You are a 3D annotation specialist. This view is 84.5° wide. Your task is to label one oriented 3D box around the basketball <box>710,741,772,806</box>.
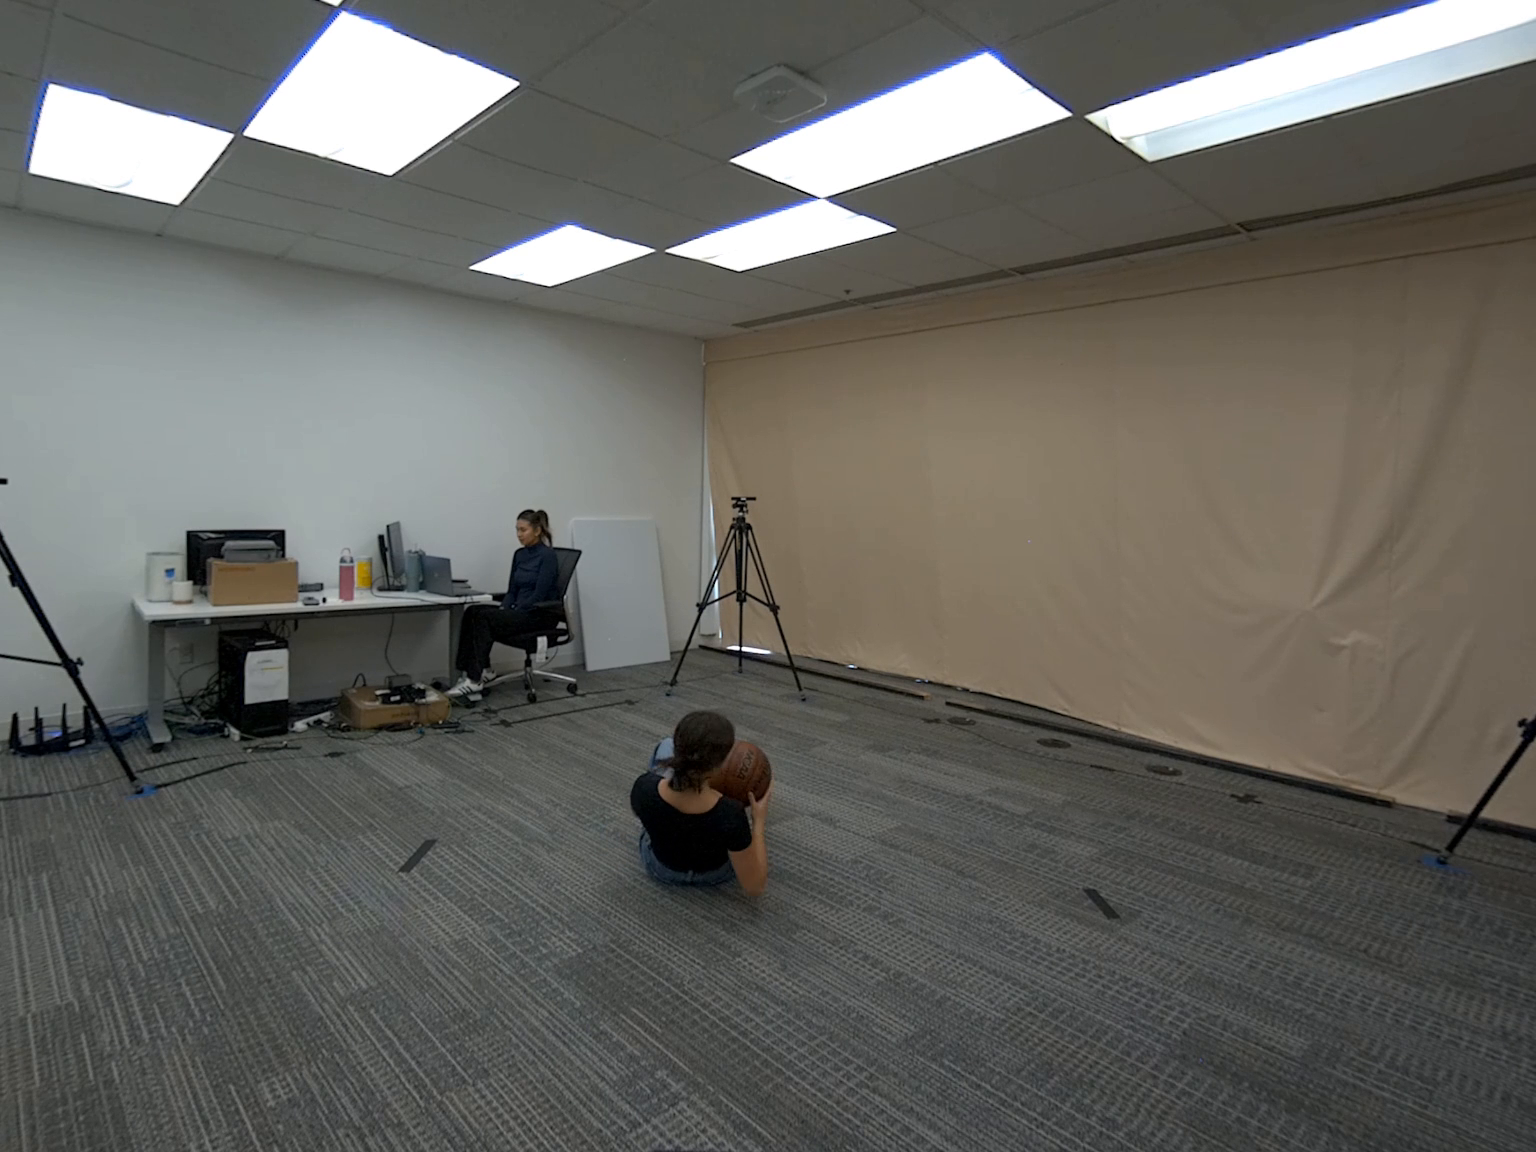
[{"bbox_3d":[-0.110,0.737,3.068,0.236,0.235,0.237,1,4,-1],"label":"basketball"}]
